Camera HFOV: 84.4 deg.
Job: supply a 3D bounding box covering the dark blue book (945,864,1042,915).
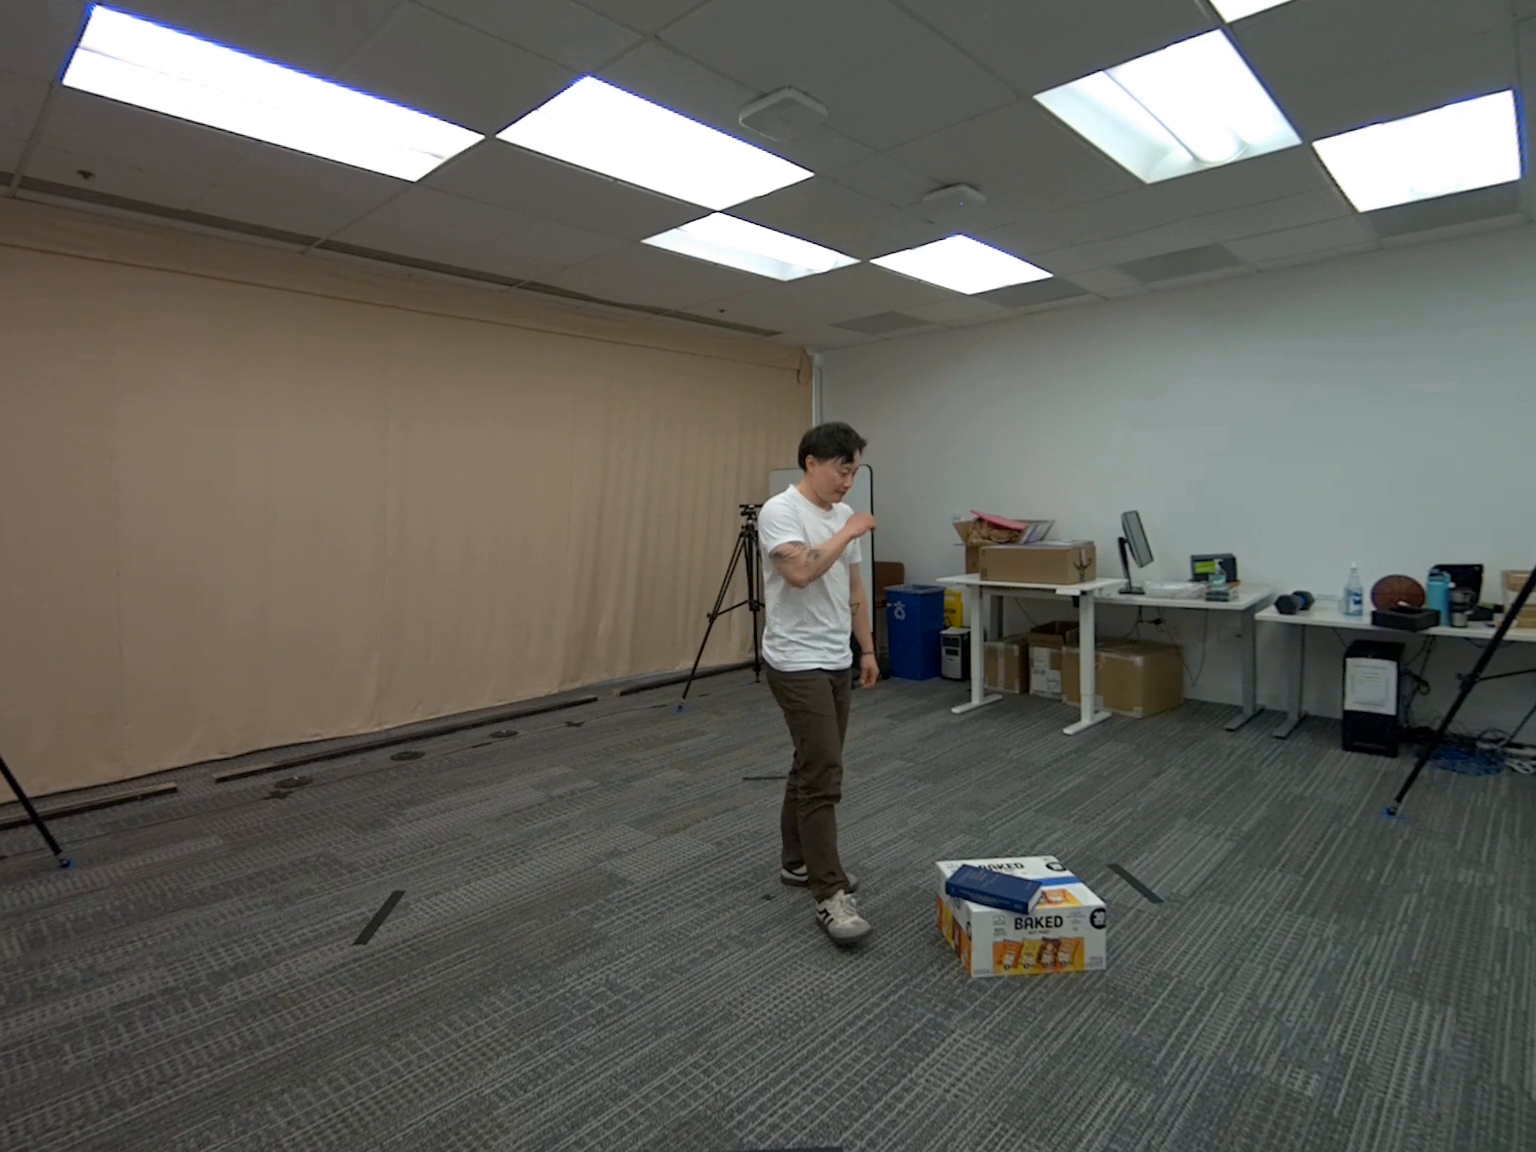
[{"bbox_3d":[0.690,0.945,2.538,0.252,0.045,0.159,2,4,33],"label":"dark blue book"}]
